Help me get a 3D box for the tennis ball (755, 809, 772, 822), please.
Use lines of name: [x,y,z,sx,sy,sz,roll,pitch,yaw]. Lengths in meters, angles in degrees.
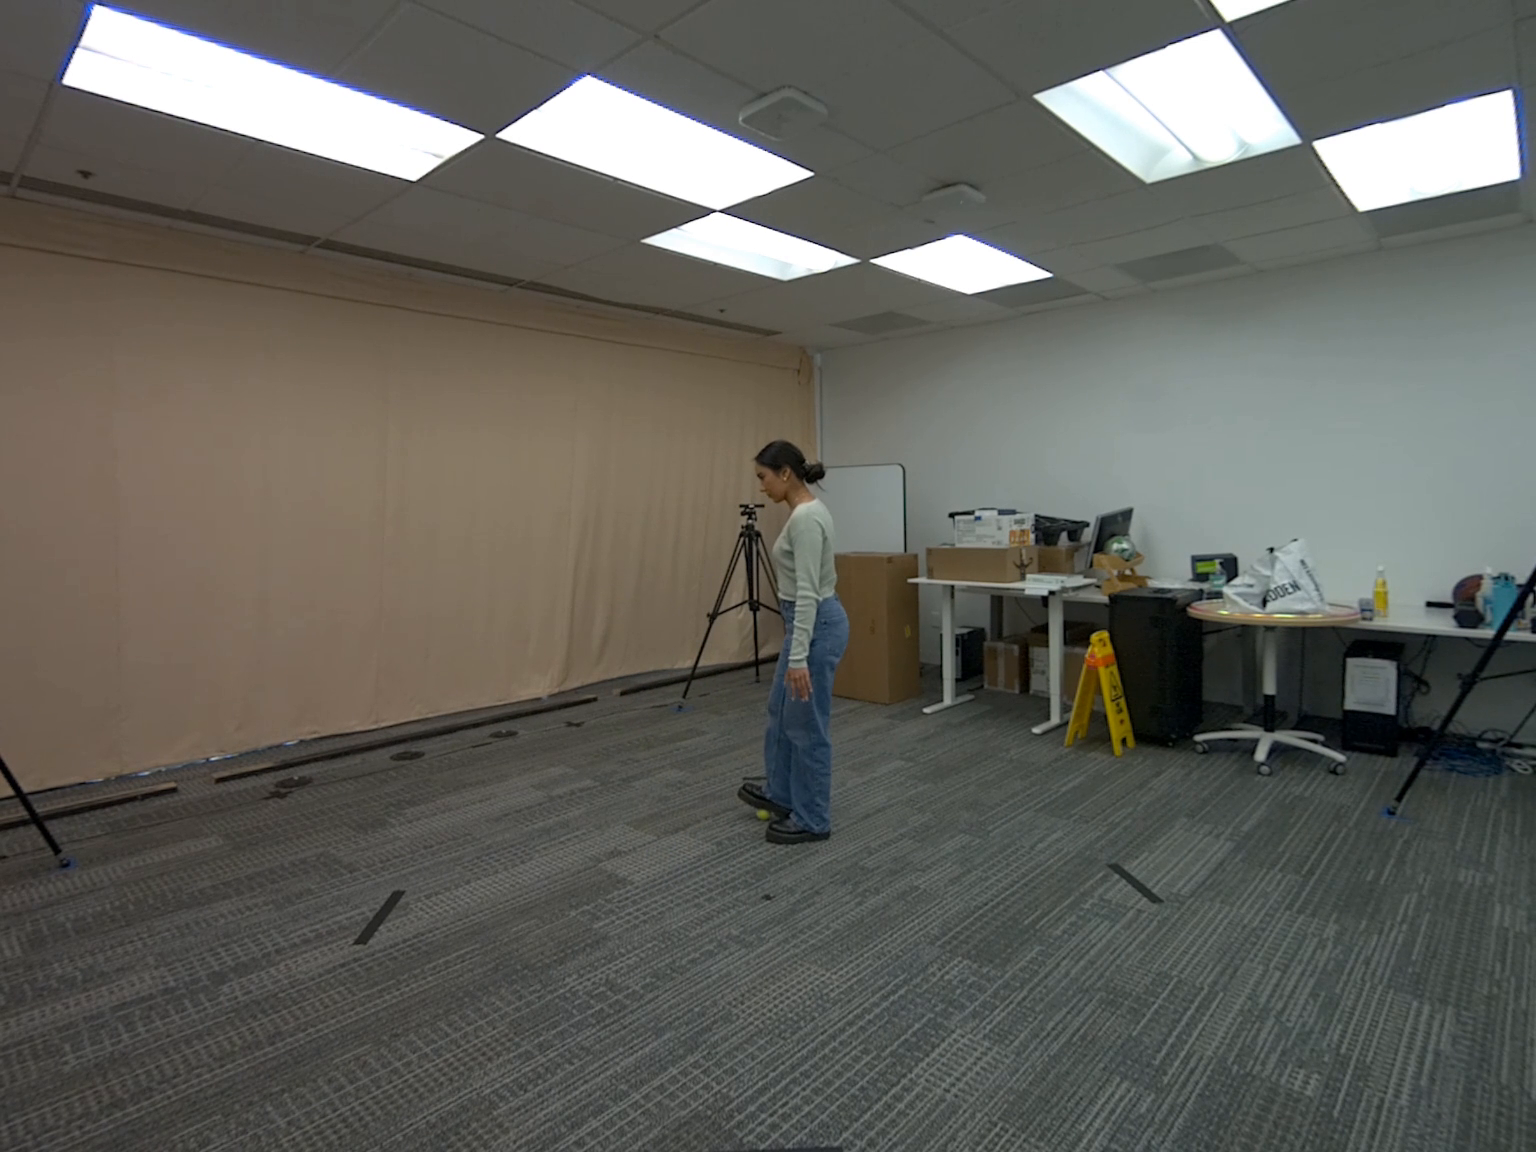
tennis ball: [-0.014,1.050,3.734,0.066,0.066,0.067,-1,4,-2]
